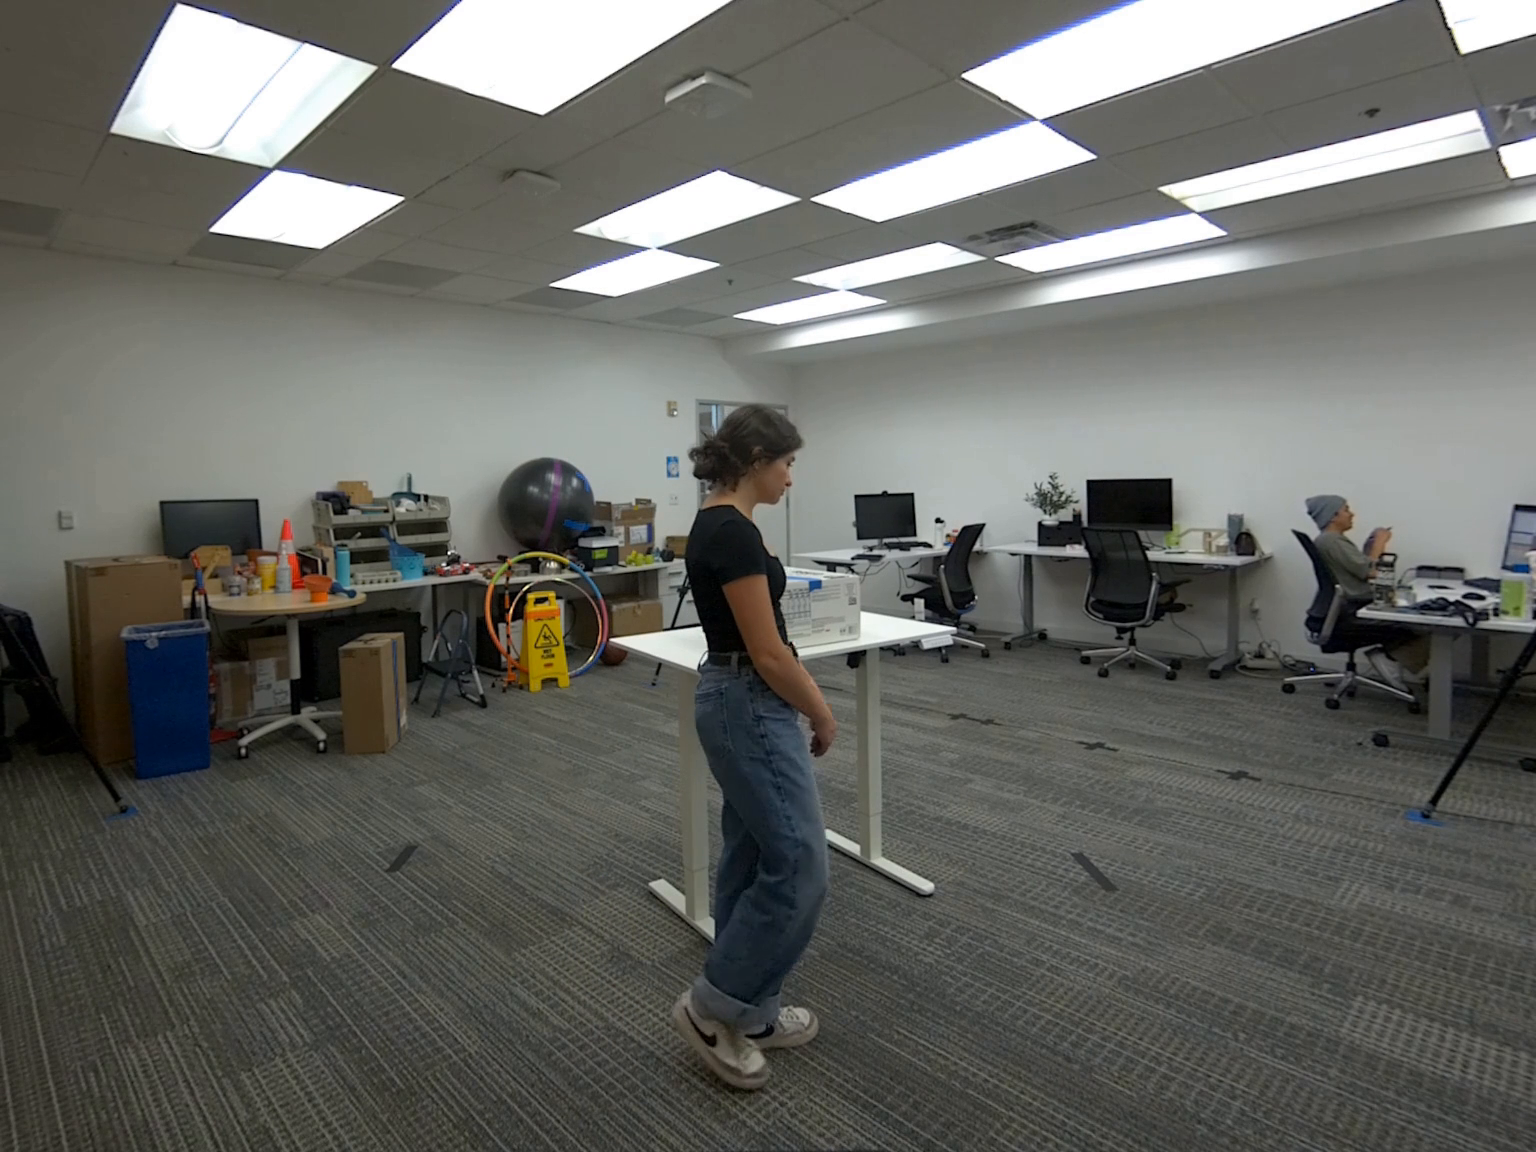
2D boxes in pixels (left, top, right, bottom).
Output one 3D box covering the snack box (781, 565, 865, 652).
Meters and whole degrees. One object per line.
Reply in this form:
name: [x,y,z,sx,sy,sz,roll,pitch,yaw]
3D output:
snack box: [0.045,0.096,2.788,0.332,0.205,0.417,-6,7,-33]
